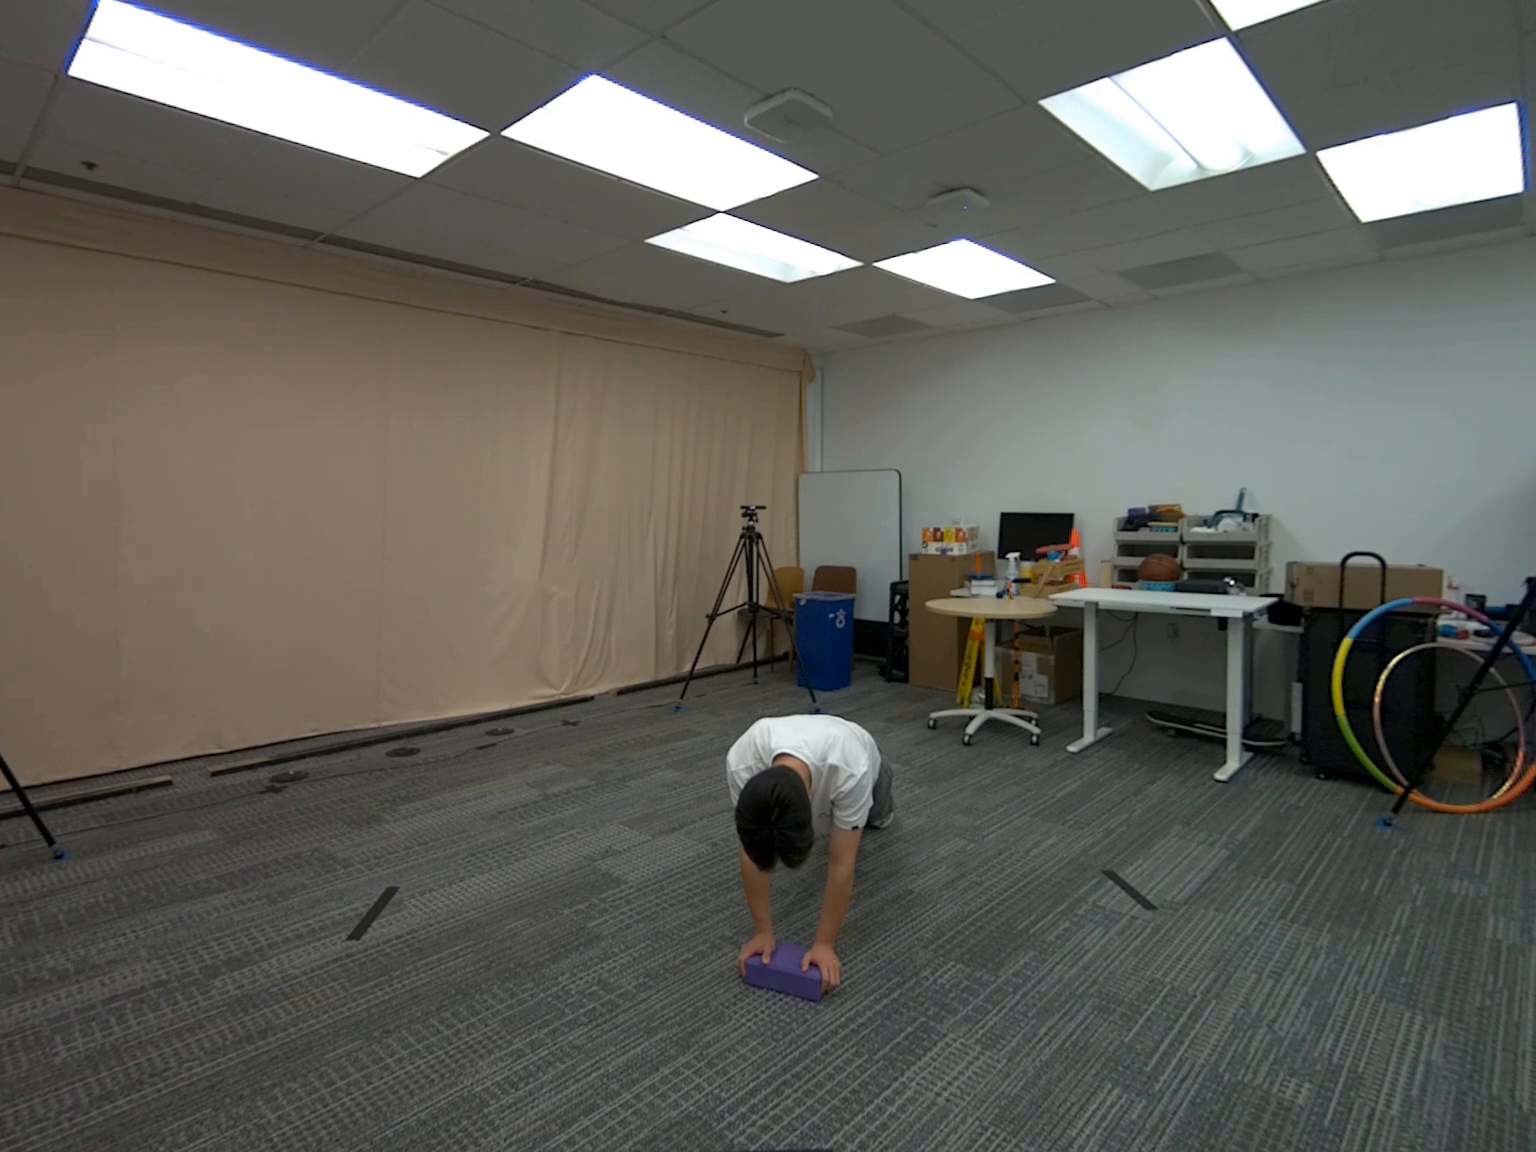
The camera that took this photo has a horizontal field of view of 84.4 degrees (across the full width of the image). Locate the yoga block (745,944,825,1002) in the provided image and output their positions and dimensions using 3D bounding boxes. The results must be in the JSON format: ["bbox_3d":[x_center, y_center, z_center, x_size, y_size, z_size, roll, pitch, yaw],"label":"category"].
[{"bbox_3d":[0.073,1.156,2.461,0.235,0.076,0.145,3,5,25],"label":"yoga block"}]
